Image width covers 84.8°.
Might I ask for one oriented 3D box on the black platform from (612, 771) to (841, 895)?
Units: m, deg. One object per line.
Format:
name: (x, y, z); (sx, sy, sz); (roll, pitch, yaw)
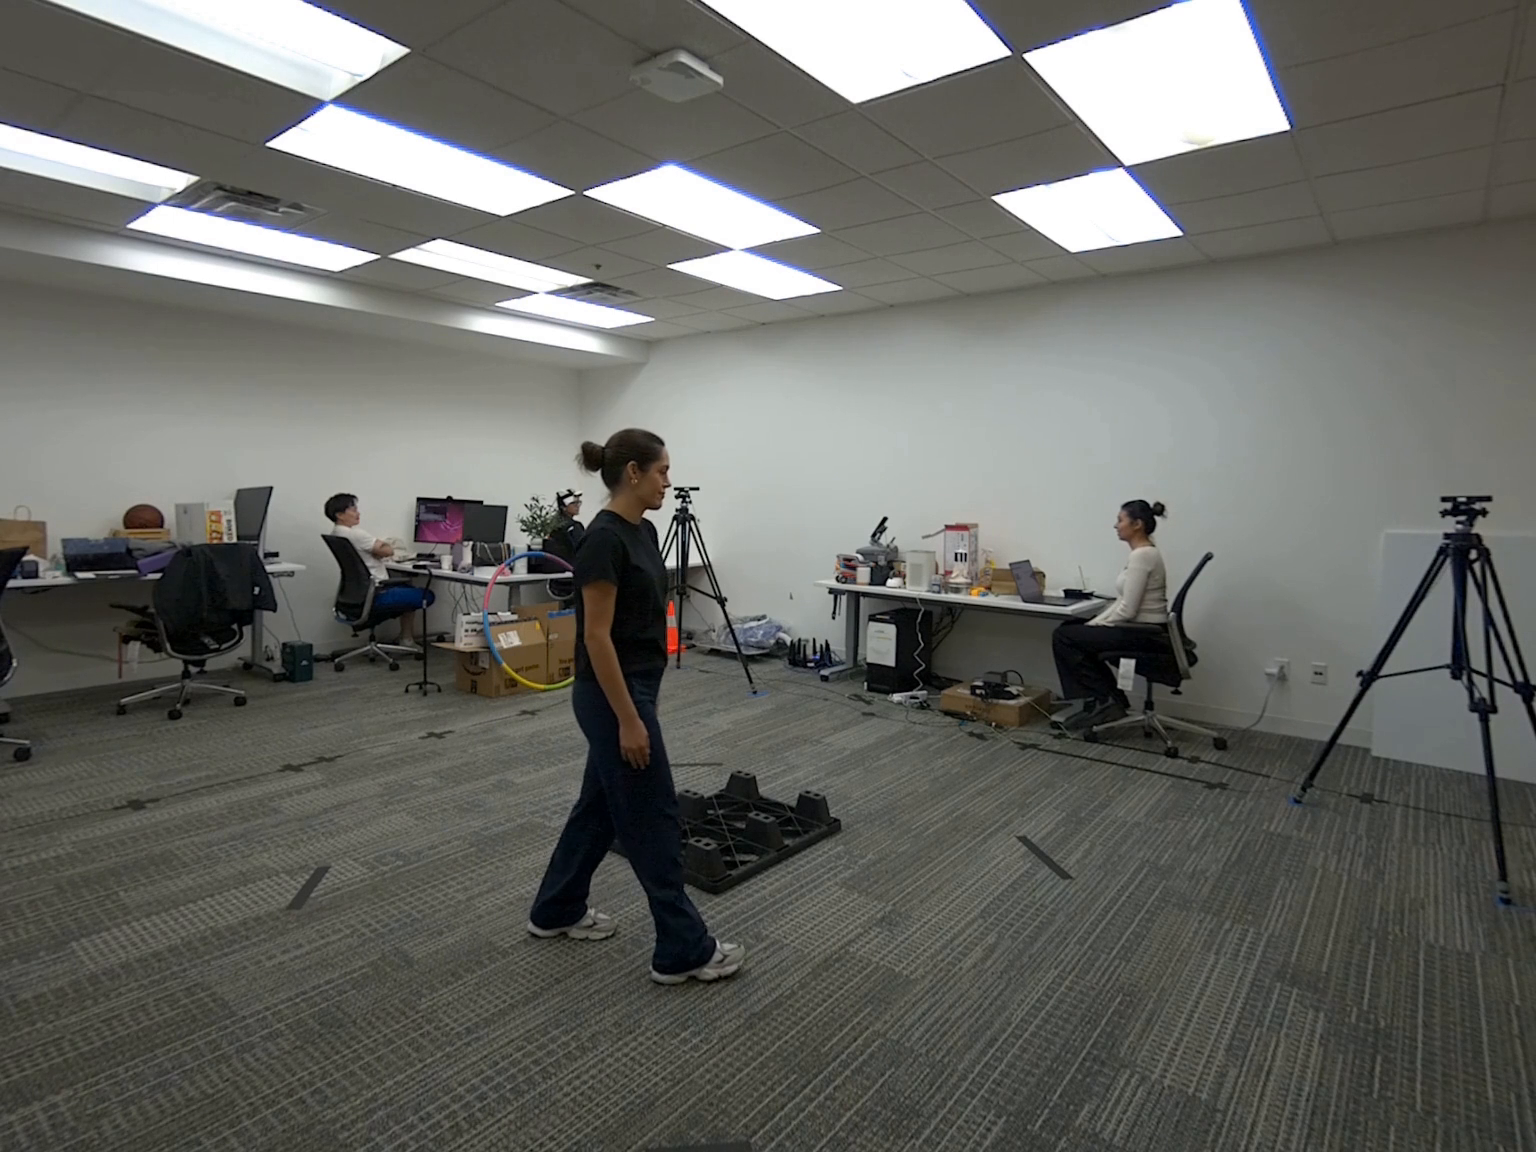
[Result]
black platform: (-0.153, 0.971, 3.400); (0.626, 0.143, 0.782); (6, 7, 39)
